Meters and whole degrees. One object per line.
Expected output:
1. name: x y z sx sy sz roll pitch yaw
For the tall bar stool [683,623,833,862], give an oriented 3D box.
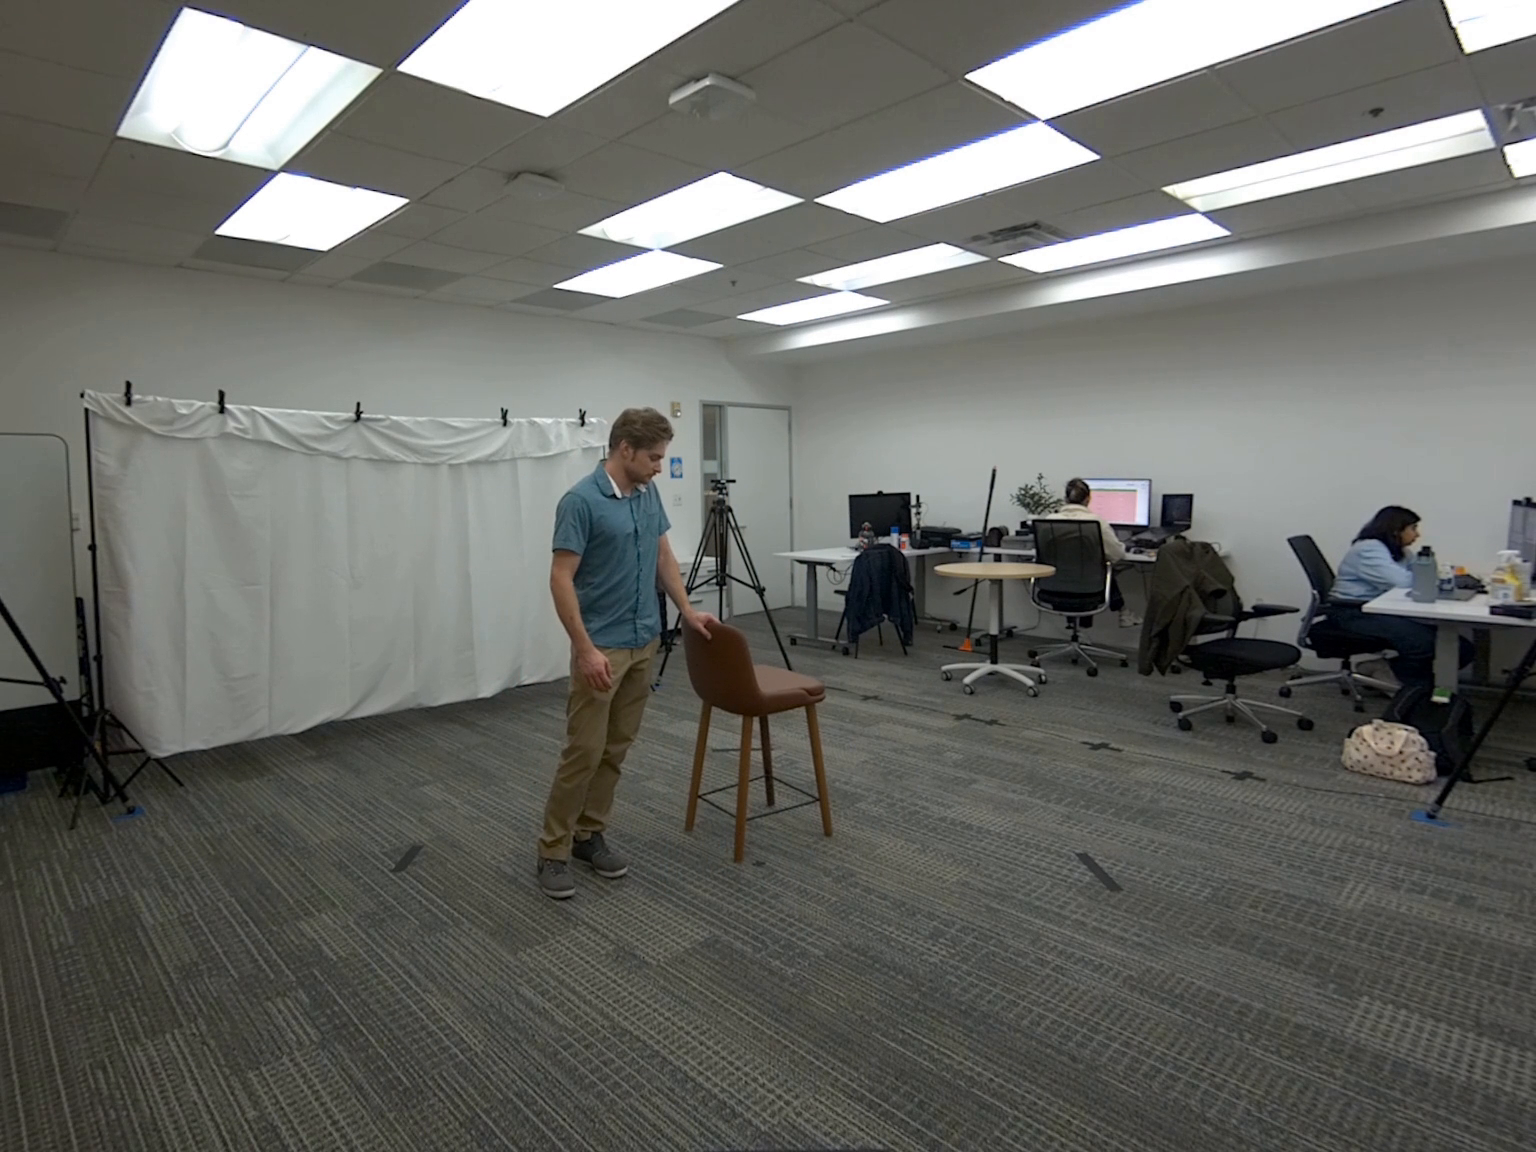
1. tall bar stool: -0.060 0.582 3.361 0.456 0.885 0.470 -6 6 -35
